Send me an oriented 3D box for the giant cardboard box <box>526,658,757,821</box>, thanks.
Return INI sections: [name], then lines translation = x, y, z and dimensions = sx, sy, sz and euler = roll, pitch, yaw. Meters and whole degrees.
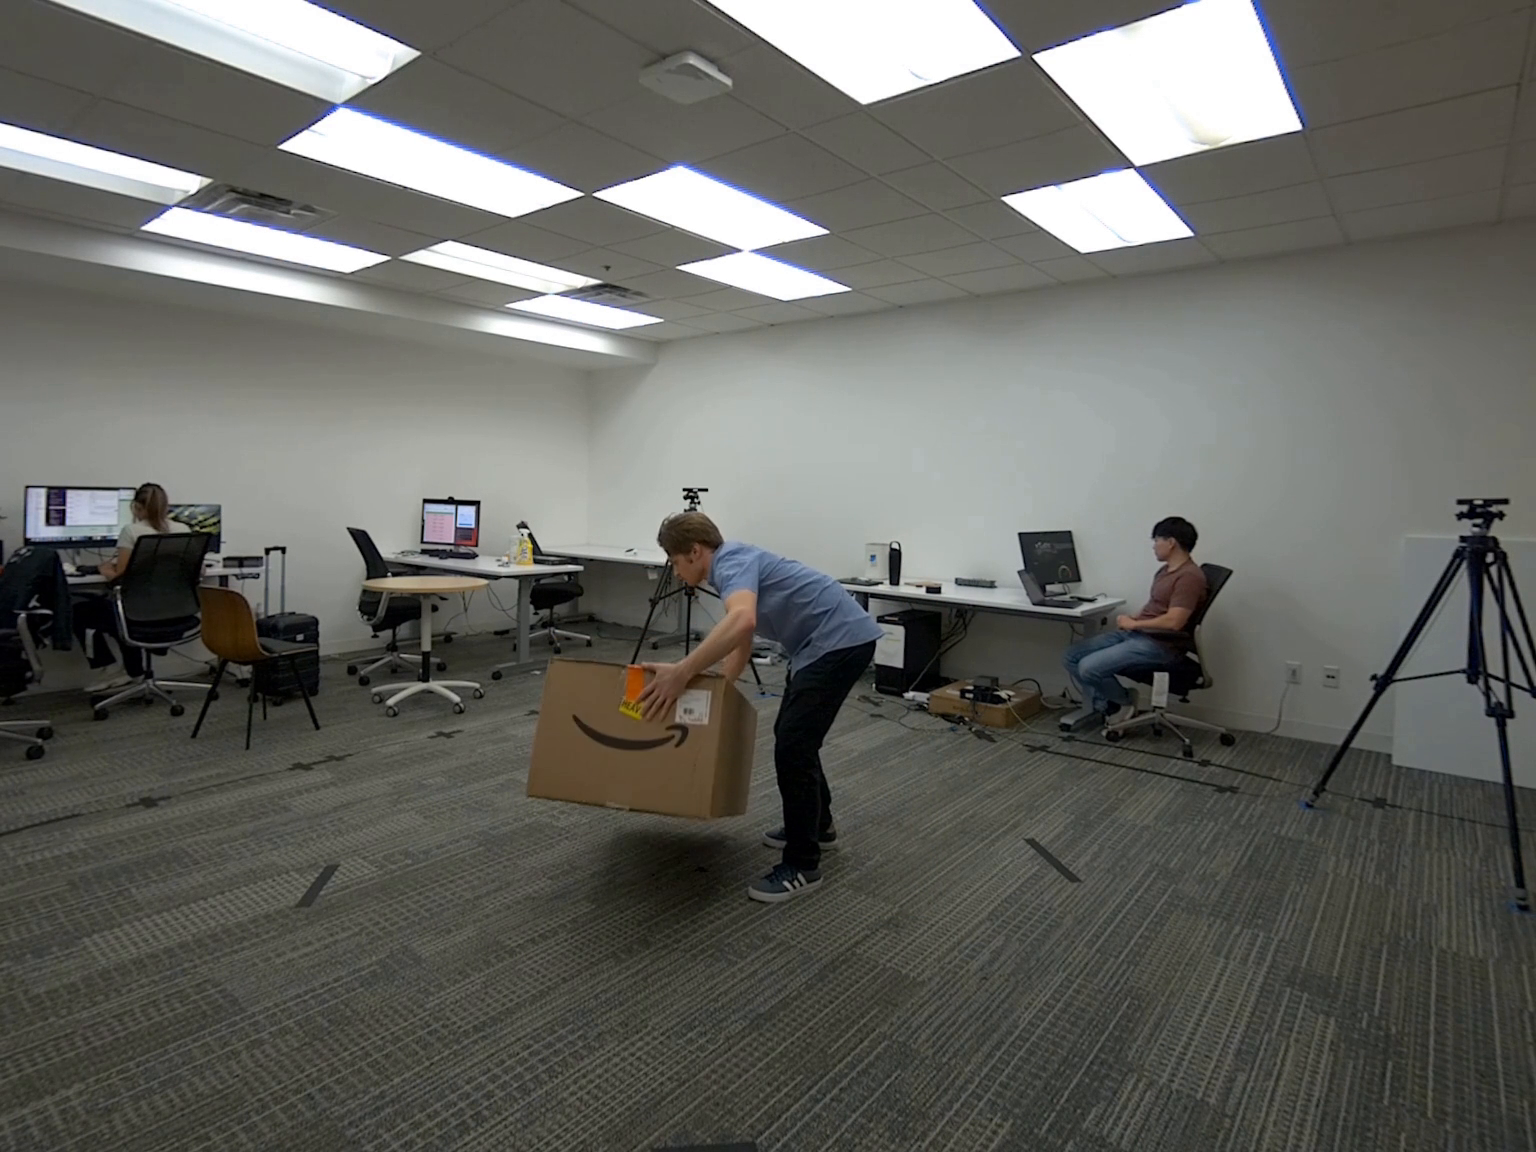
[giant cardboard box]
translation = -0.404, 0.621, 3.057
dimensions = 0.590, 0.452, 1.004
euler = 6, -15, 7
